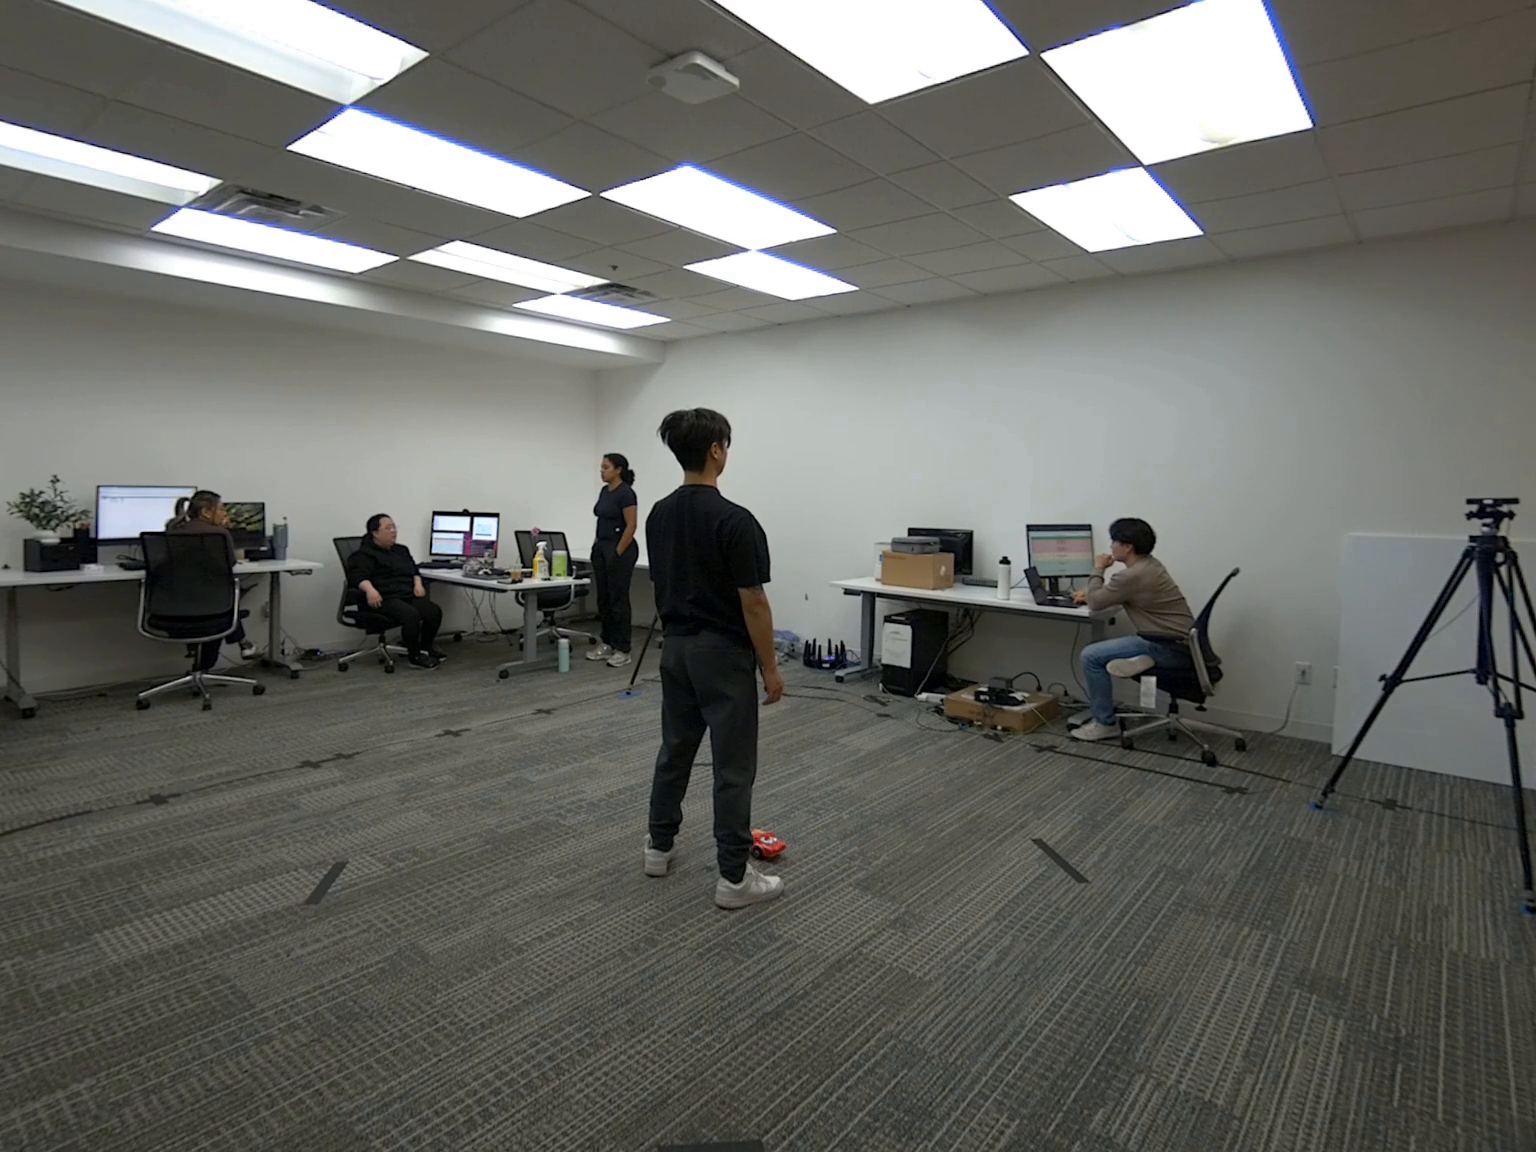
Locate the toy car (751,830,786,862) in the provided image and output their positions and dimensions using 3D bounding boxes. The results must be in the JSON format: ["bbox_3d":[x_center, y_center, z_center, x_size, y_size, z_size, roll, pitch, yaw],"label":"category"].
[{"bbox_3d":[-0.048,1.025,3.267,0.261,0.083,0.126,-8,-3,43],"label":"toy car"}]
